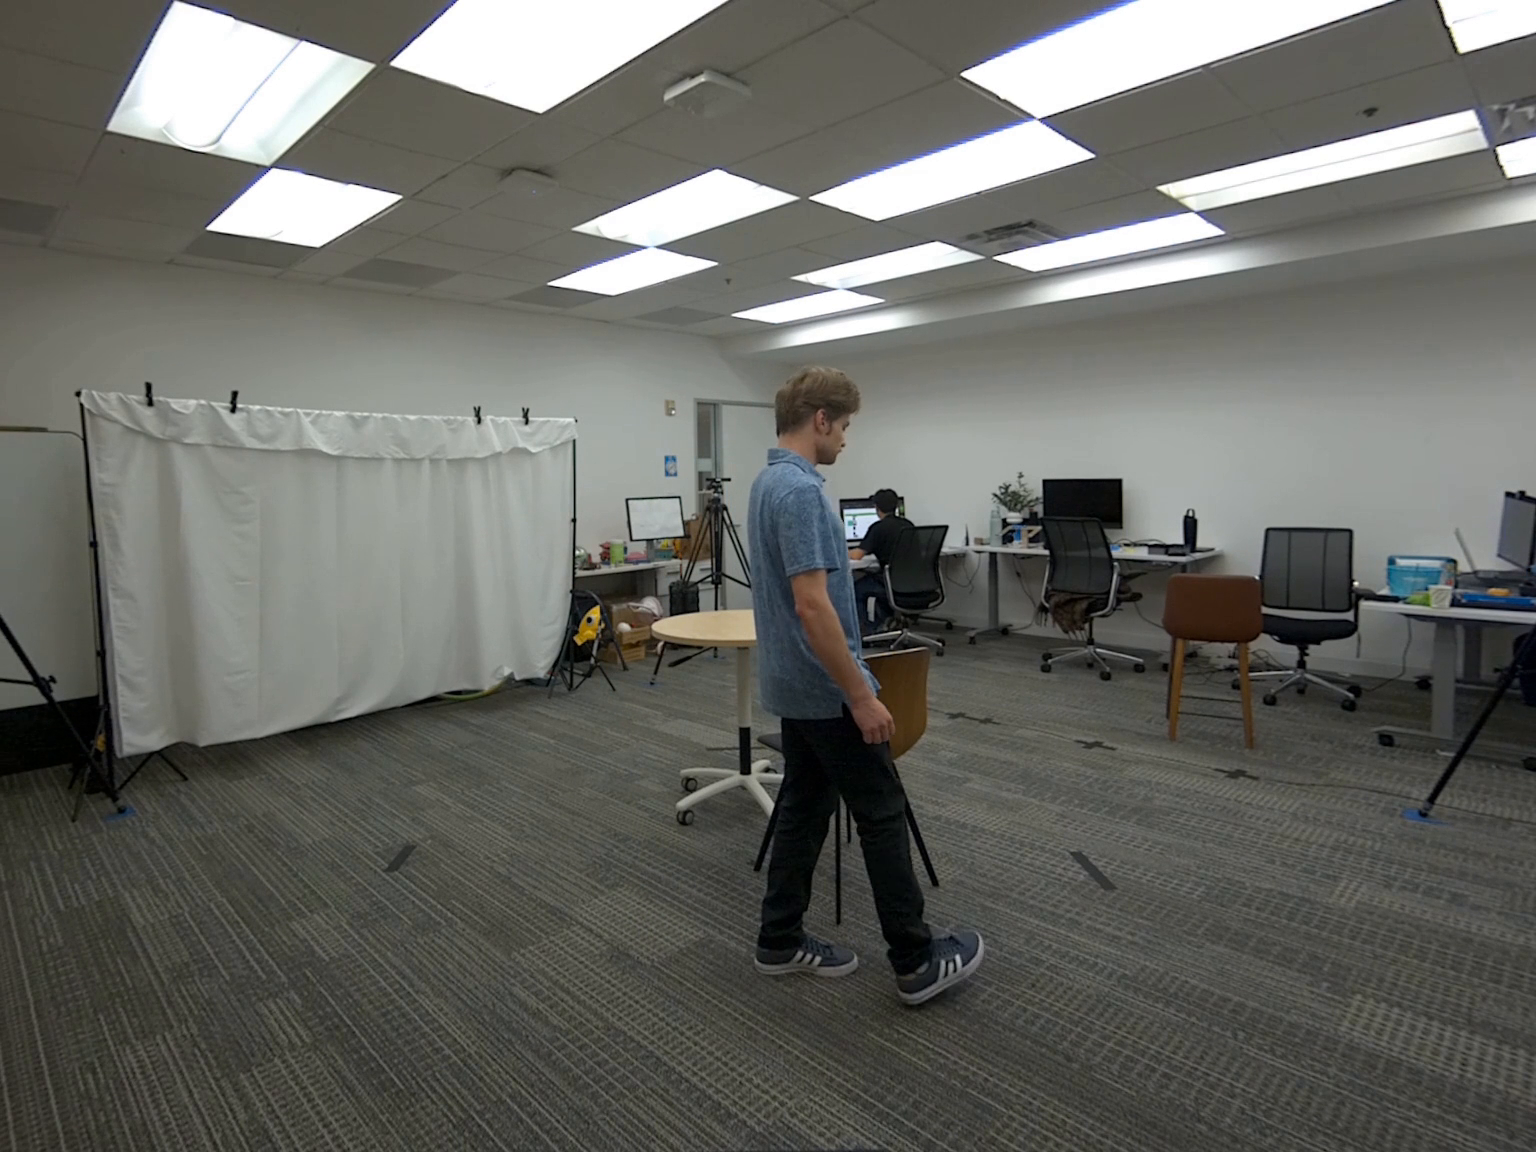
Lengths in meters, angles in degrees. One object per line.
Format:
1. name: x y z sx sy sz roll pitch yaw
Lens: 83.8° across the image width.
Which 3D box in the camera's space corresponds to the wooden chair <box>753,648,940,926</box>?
1. wooden chair: 0.260 0.628 2.944 0.466 0.871 0.540 -4 10 -36
